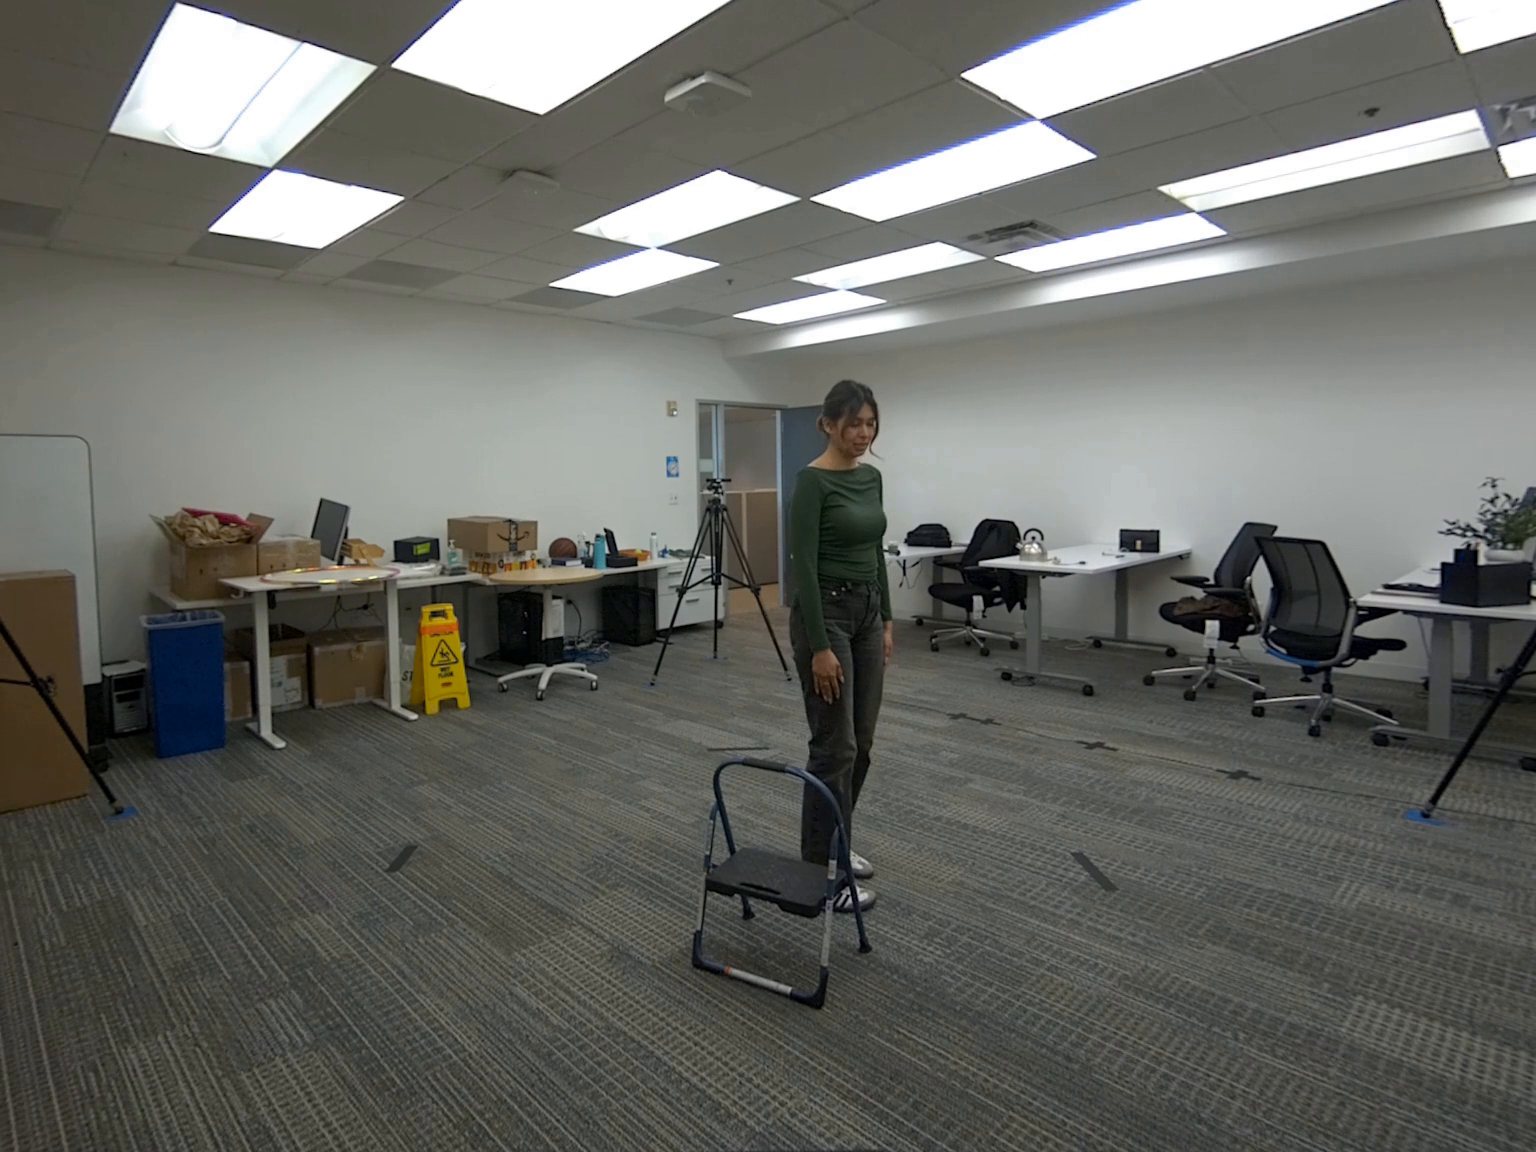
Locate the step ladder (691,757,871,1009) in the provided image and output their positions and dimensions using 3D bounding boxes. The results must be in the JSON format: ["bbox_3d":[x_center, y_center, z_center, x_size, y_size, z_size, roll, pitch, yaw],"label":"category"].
[{"bbox_3d":[0.037,0.813,2.477,0.442,0.604,0.341,1,4,29],"label":"step ladder"}]
